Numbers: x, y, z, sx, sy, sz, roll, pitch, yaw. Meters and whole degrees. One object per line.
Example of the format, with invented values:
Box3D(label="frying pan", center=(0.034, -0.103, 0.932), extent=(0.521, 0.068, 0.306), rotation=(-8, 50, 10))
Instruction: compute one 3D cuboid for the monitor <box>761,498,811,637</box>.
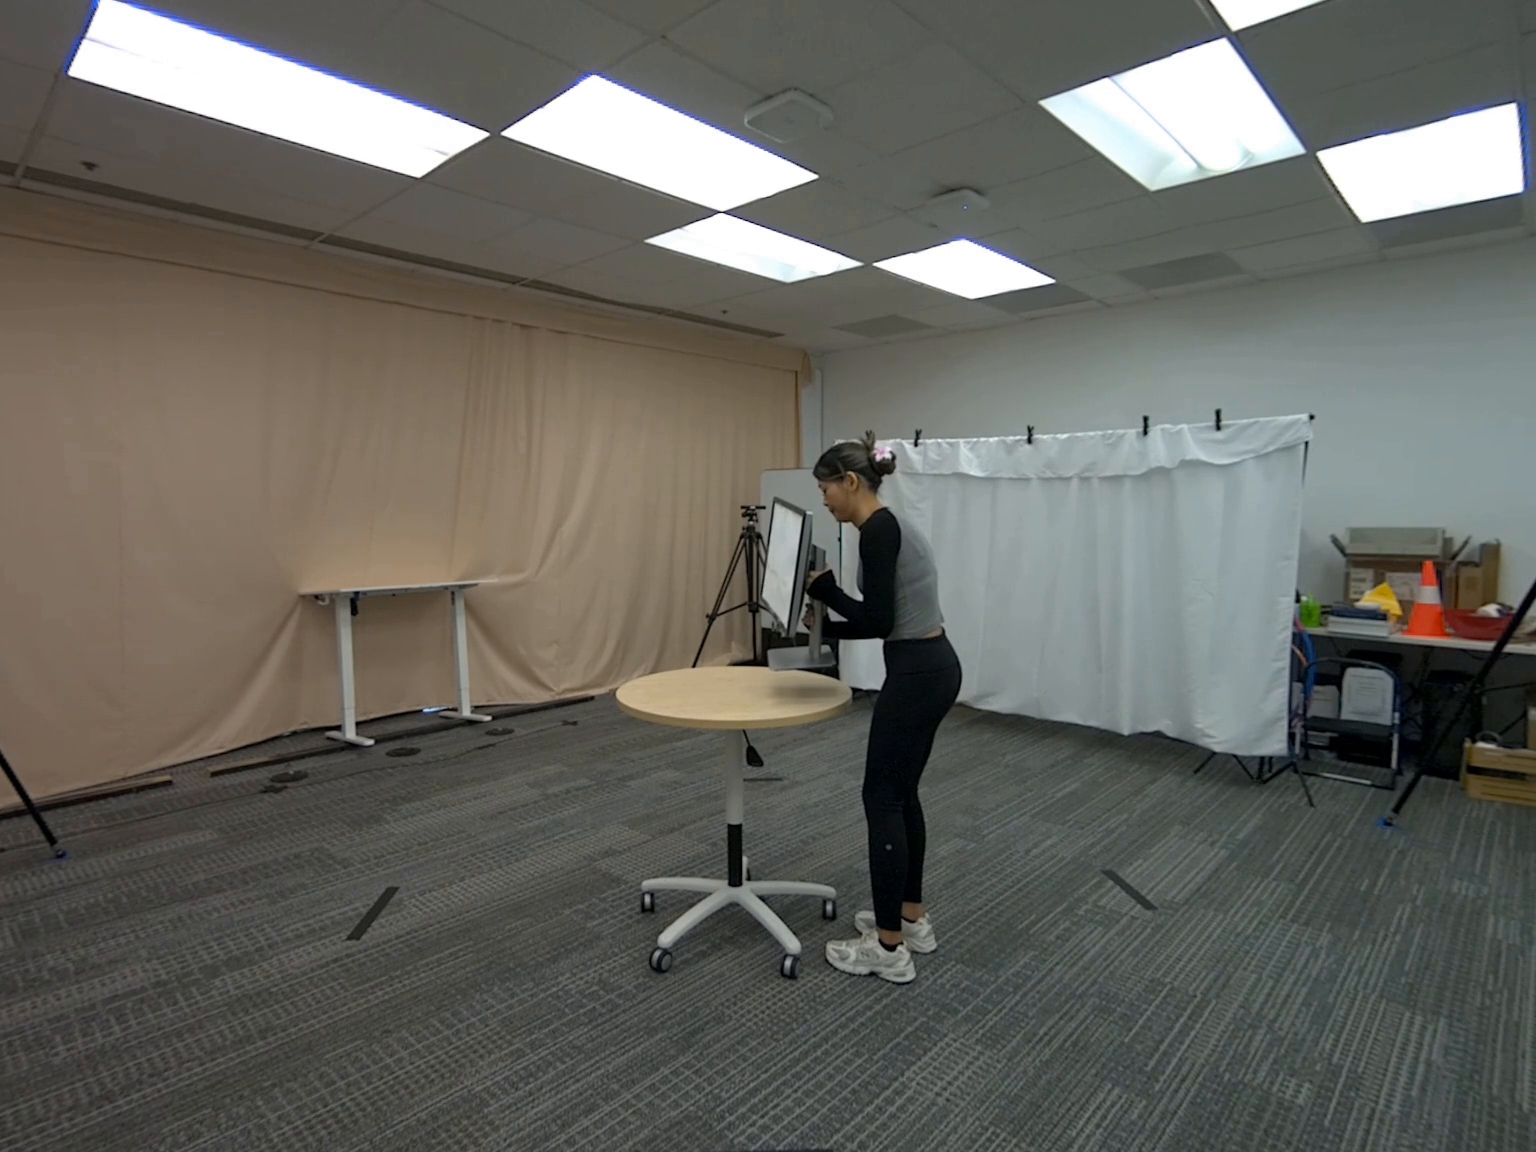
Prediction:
Box3D(label="monitor", center=(0.098, 0.029, 2.673), extent=(0.186, 0.519, 0.547), rotation=(-7, 10, -9))
